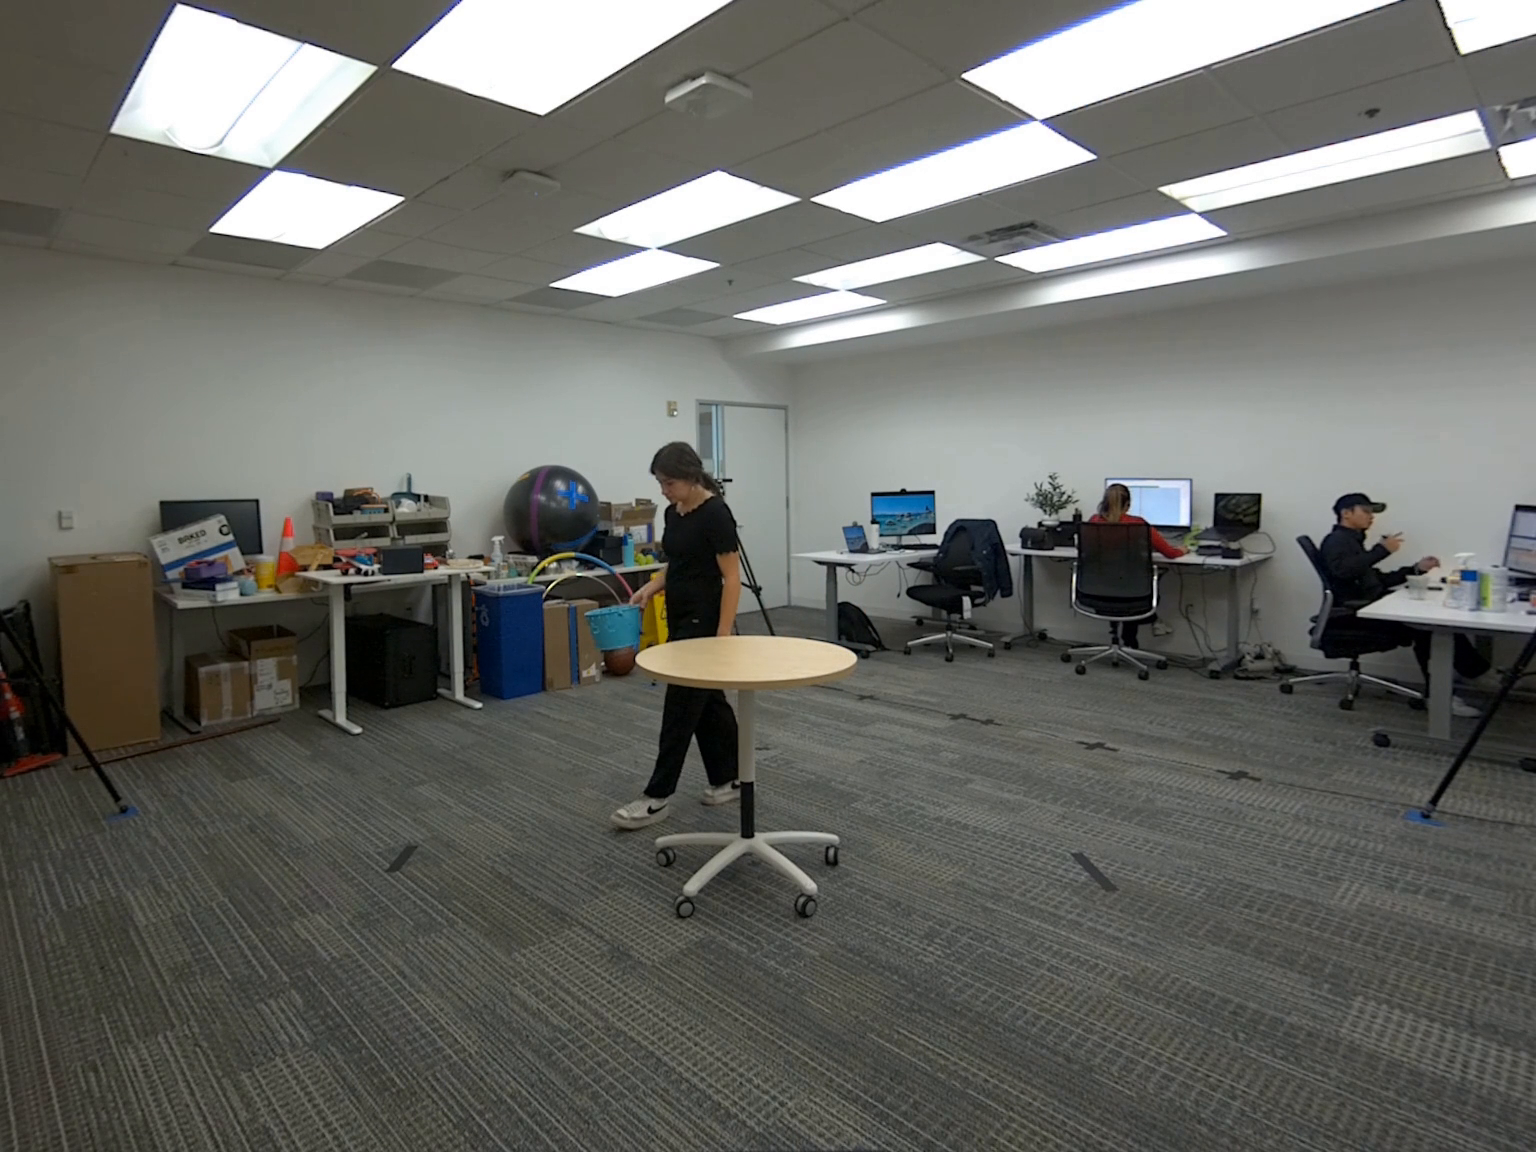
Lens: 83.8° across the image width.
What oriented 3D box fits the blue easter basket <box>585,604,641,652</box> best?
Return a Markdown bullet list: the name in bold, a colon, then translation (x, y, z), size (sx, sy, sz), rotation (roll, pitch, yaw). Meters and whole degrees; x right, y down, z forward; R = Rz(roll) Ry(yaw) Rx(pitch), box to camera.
- **blue easter basket**: translation (-0.635, 0.212, 3.528), size (0.243, 0.155, 0.244), rotation (-8, 3, -1)
